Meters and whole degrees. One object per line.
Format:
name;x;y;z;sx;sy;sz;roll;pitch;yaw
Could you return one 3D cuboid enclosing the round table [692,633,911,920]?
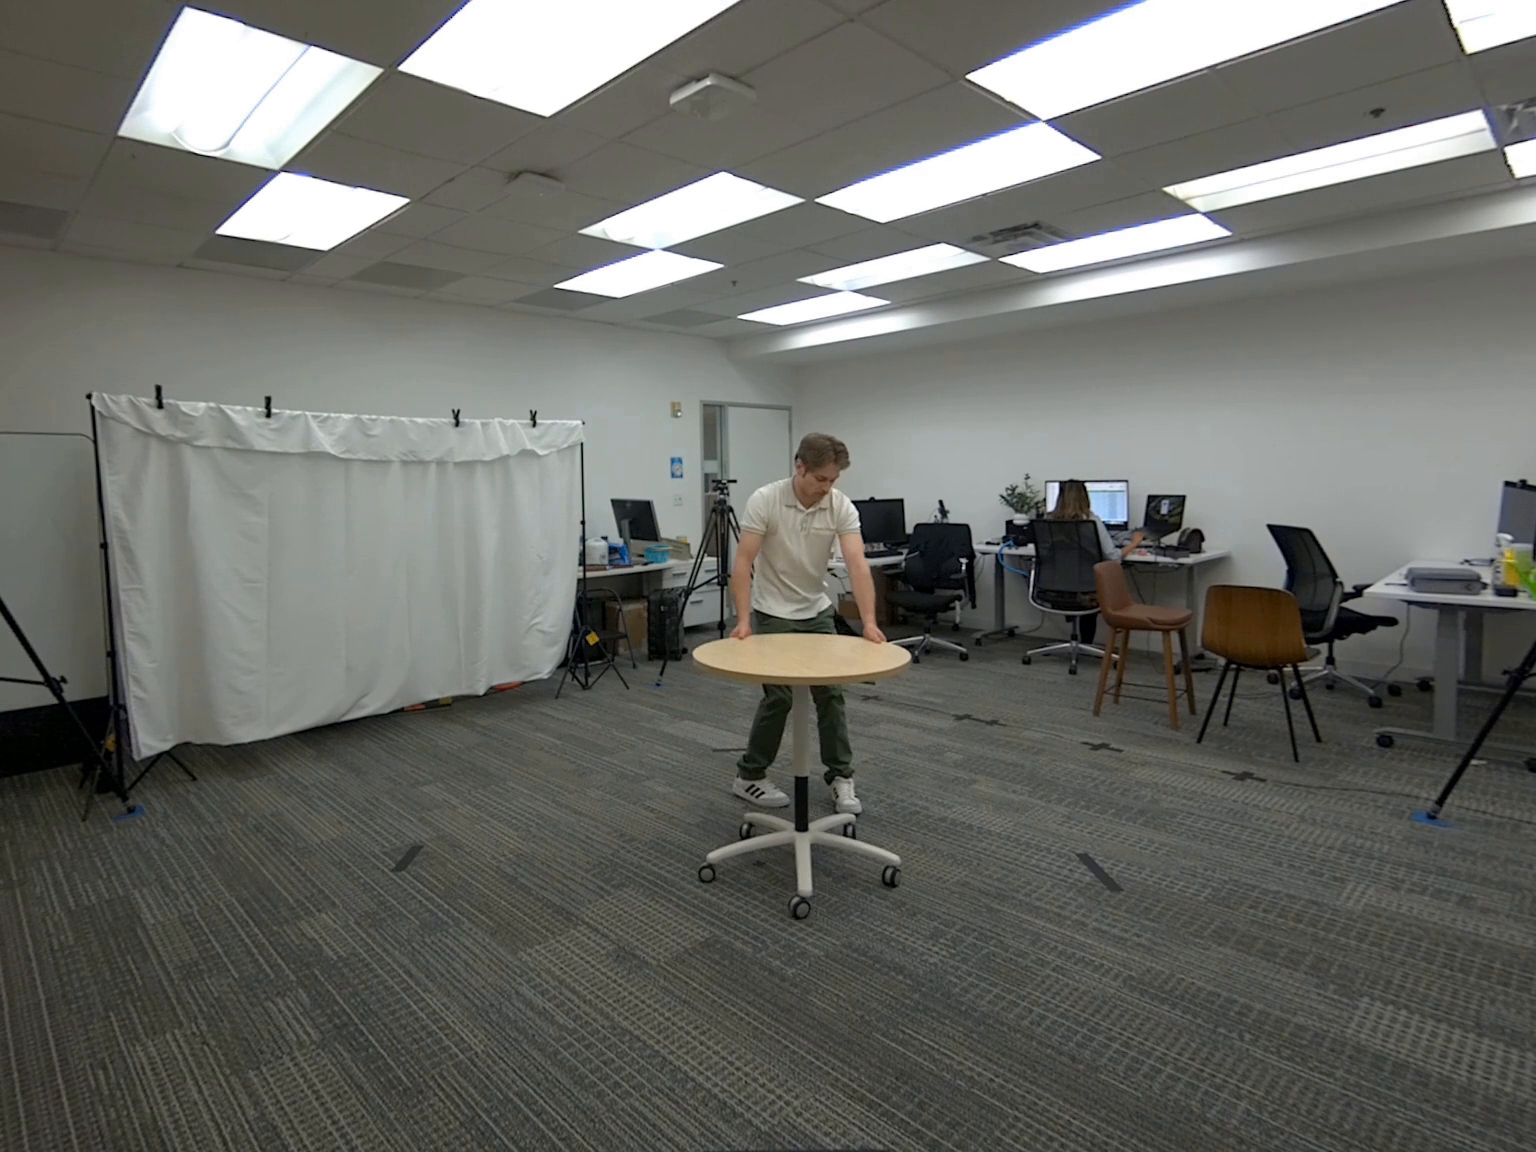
round table;0.112;0.661;3.058;0.784;0.783;0.789;0;5;-2
